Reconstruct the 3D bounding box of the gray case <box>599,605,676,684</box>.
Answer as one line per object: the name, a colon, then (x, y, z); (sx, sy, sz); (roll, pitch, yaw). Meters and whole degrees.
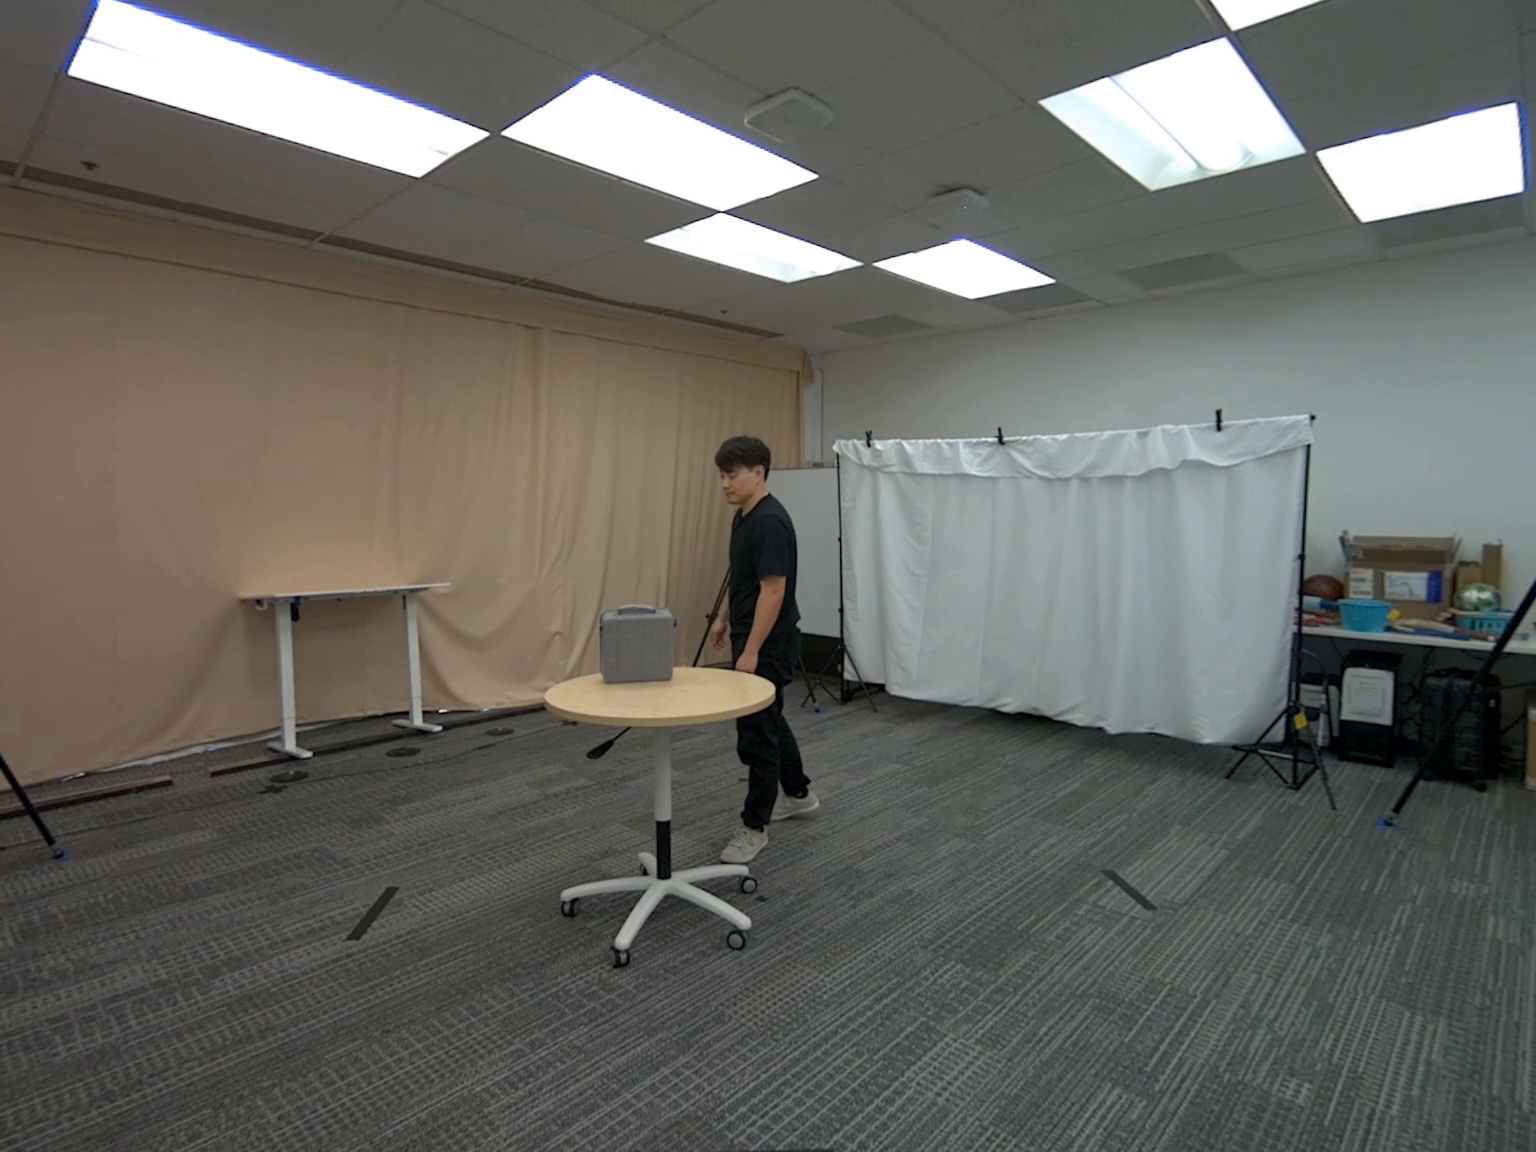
gray case: (-0.457, 0.239, 2.941); (0.255, 0.259, 0.106); (-1, 12, -8)
